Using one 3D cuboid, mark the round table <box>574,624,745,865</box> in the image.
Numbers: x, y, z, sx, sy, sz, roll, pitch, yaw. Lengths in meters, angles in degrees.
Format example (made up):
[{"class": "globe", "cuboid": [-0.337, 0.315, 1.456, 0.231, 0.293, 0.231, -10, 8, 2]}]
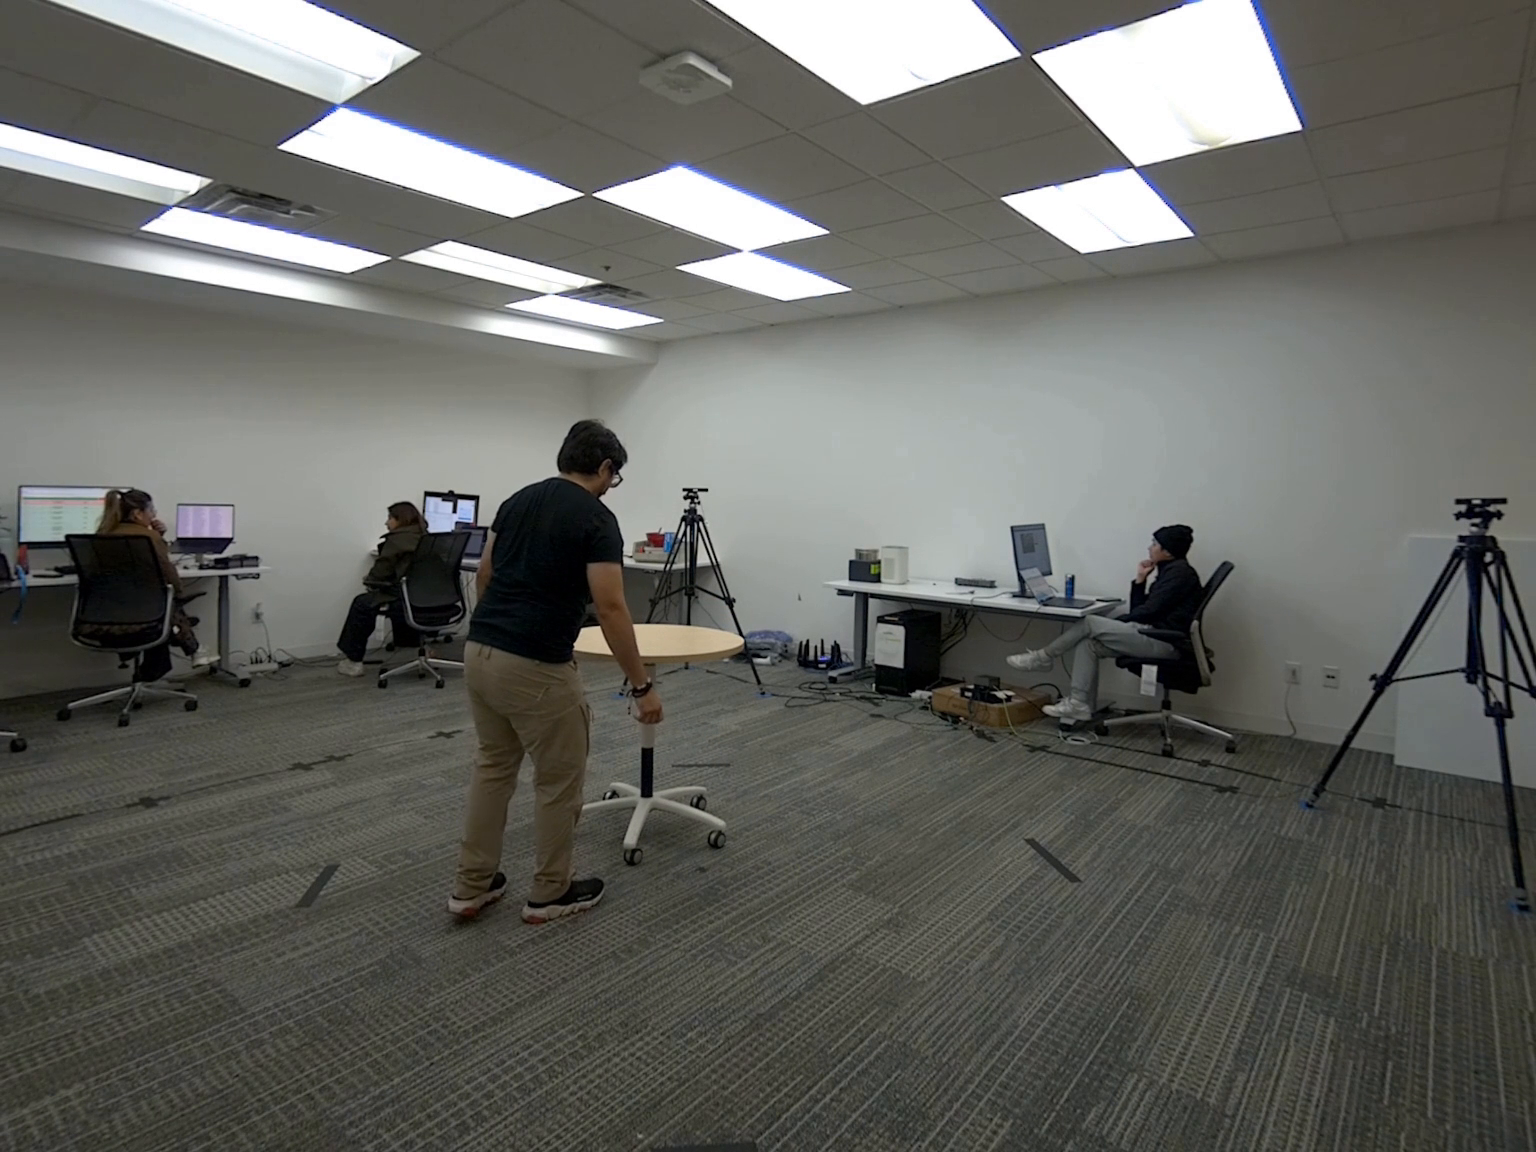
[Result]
[{"class": "round table", "cuboid": [-0.498, 0.638, 3.424, 0.784, 0.784, 0.788, 1, 4, -2]}]
